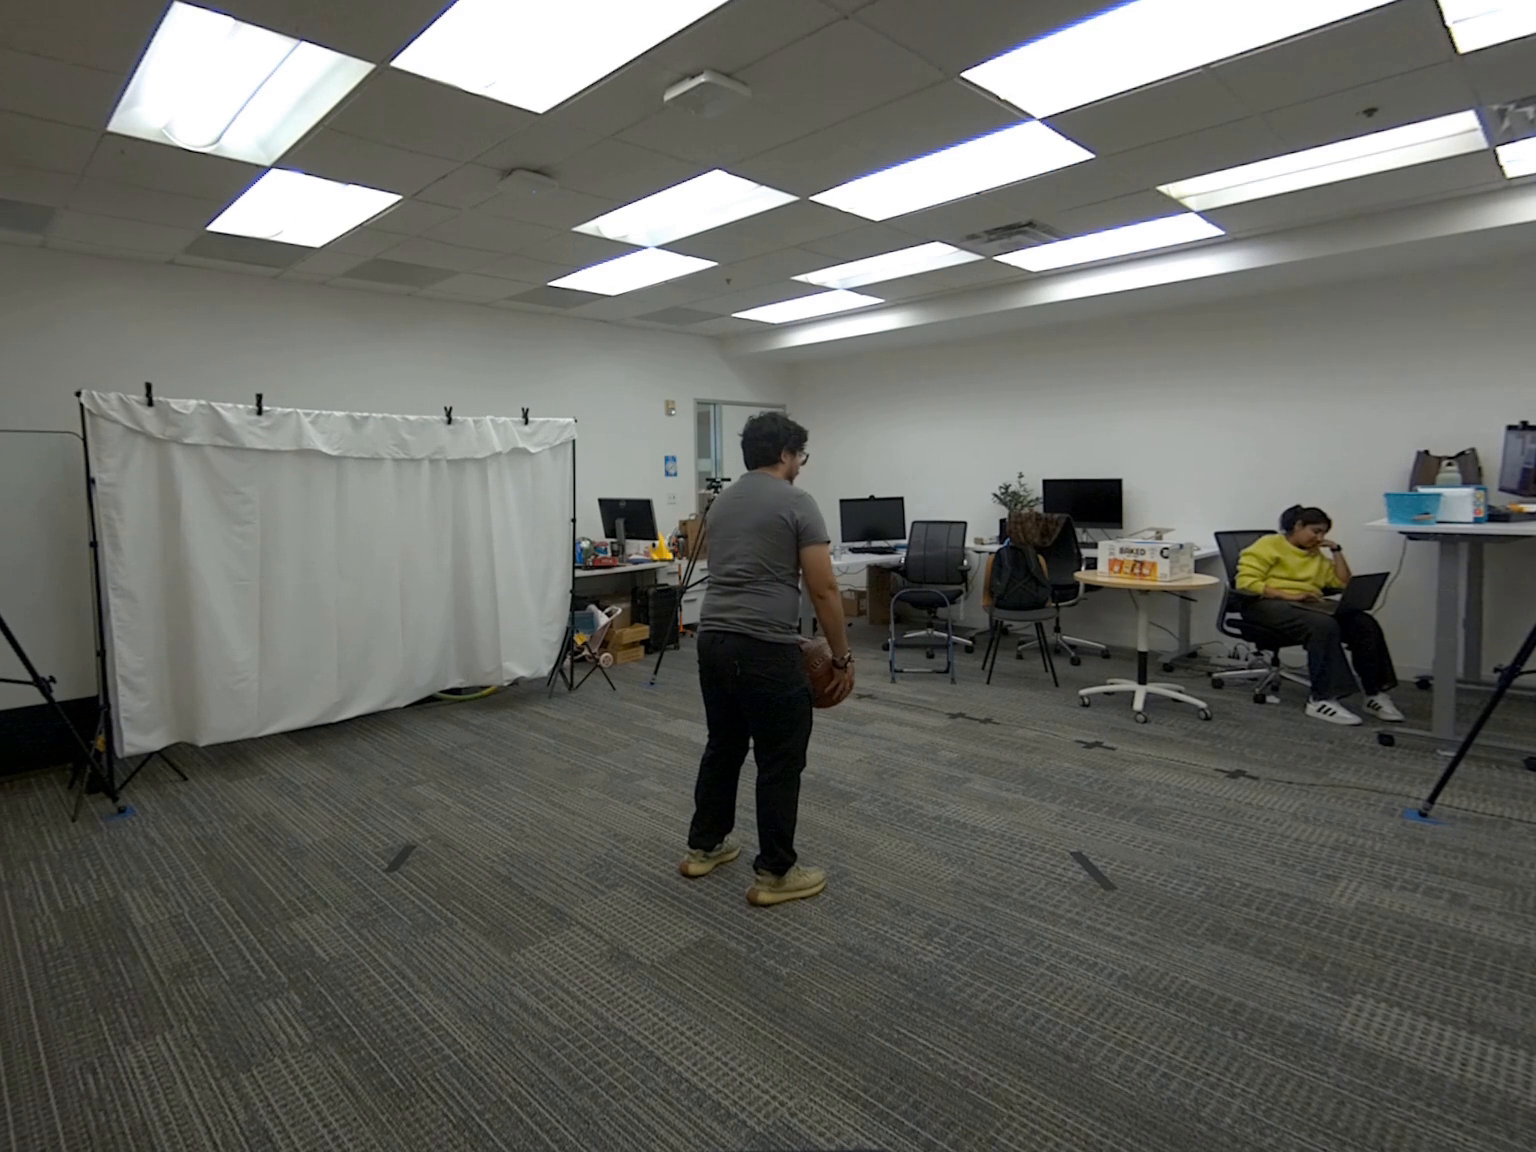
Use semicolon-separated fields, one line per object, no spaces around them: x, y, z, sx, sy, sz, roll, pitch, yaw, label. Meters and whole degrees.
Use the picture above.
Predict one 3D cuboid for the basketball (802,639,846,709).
0.185;0.339;2.993;0.236;0.235;0.237;-1;5;-2;basketball
